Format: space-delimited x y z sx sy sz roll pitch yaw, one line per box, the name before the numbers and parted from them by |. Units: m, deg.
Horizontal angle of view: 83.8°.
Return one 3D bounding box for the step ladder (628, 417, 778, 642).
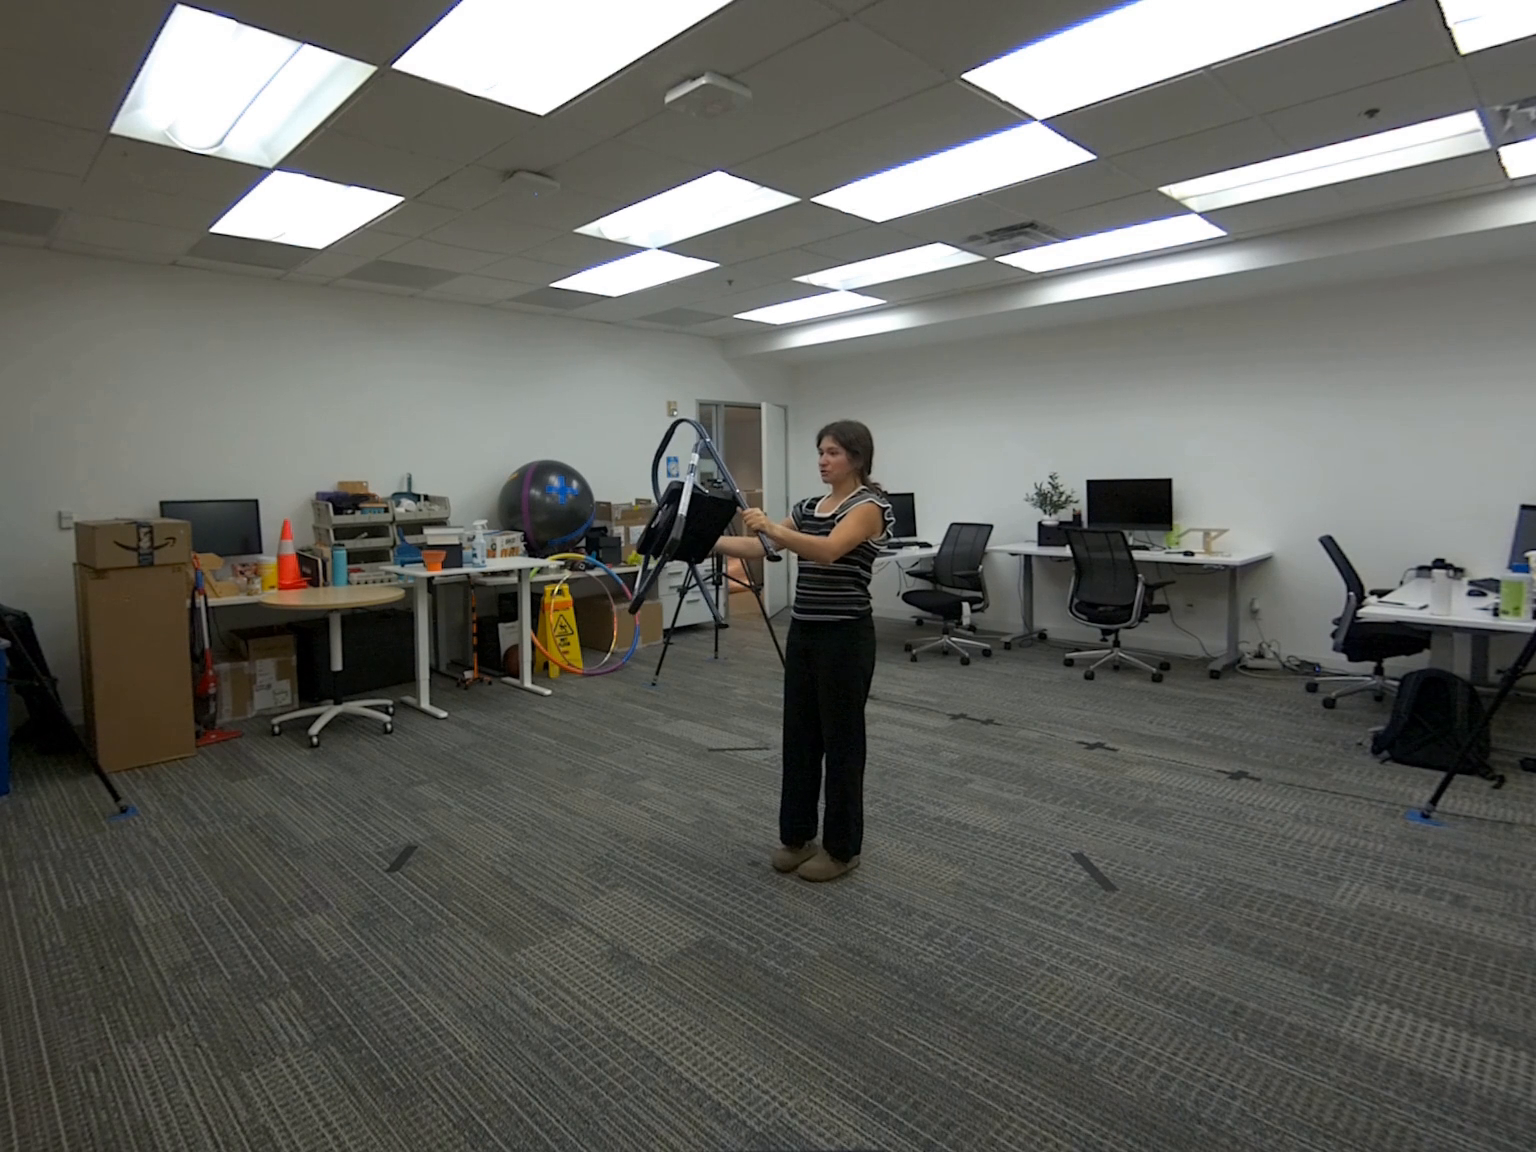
step ladder | -0.251 -0.202 2.820 0.341 0.624 0.428 11 -40 -24
